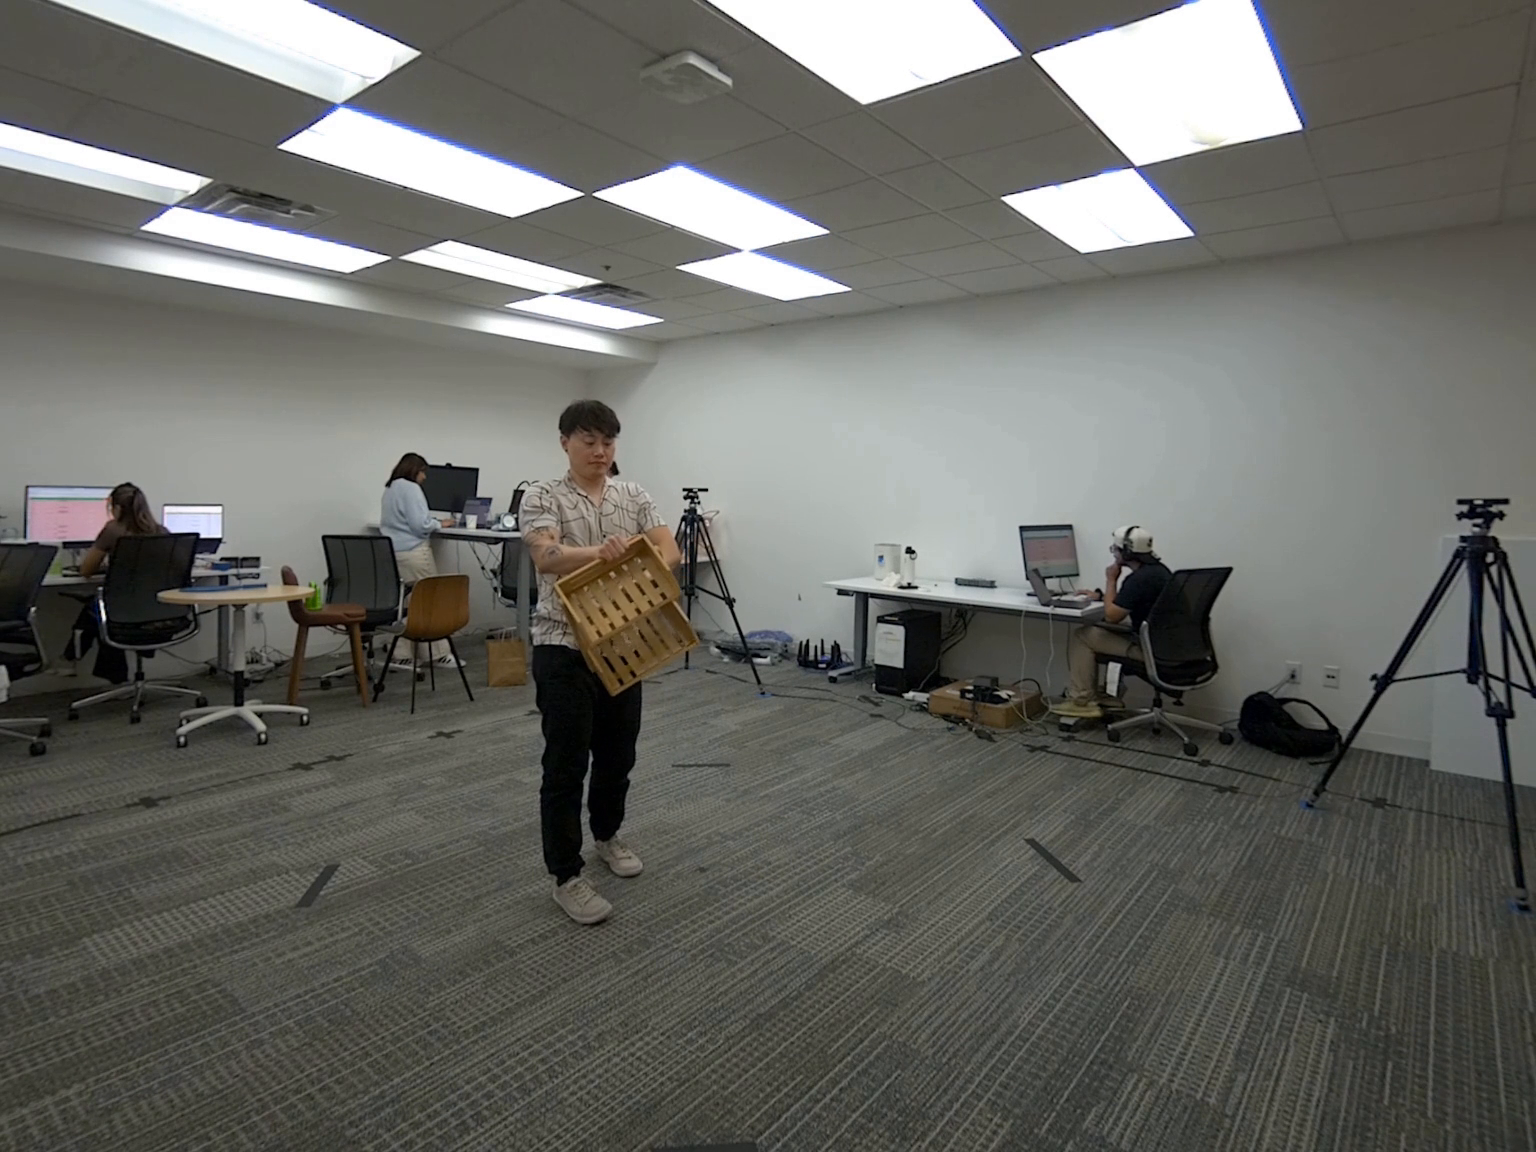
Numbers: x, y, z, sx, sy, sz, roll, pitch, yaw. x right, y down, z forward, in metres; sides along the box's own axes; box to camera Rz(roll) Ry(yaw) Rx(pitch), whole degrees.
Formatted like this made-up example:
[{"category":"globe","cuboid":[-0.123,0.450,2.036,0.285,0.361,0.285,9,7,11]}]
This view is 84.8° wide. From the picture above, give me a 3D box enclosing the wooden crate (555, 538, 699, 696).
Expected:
[{"category":"wooden crate","cuboid":[-0.412,0.114,2.477,0.322,0.312,0.267,-29,-26,-18]}]
